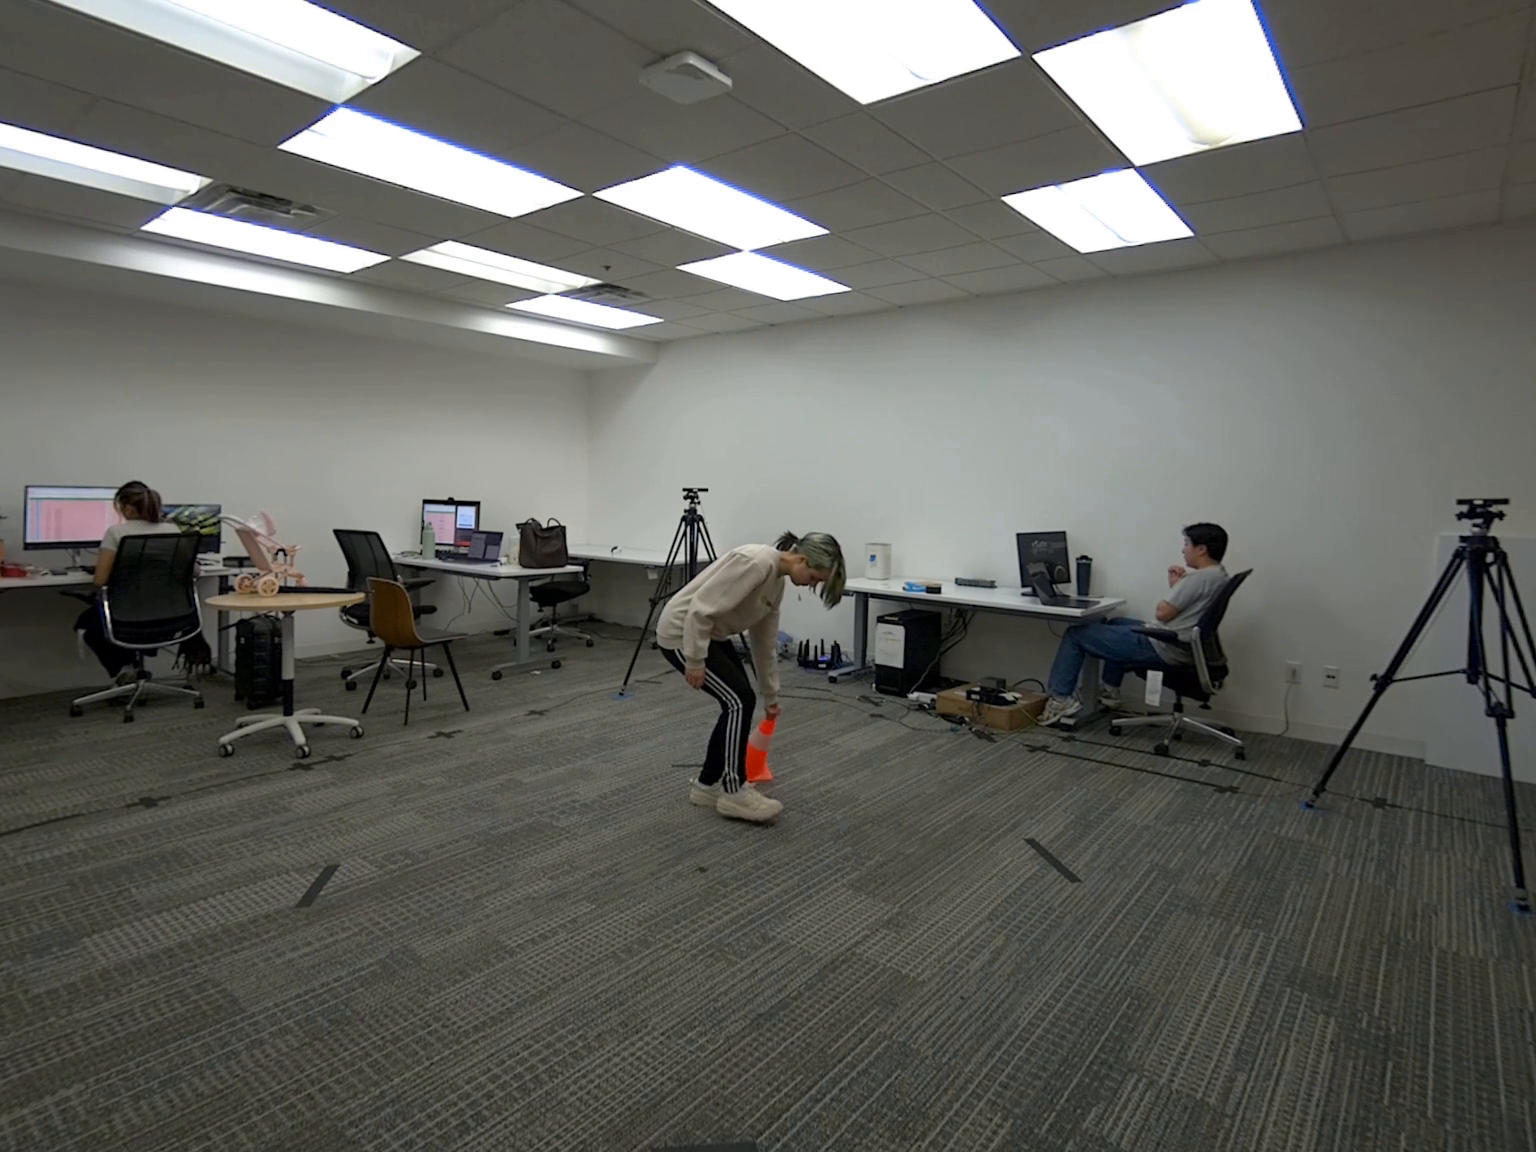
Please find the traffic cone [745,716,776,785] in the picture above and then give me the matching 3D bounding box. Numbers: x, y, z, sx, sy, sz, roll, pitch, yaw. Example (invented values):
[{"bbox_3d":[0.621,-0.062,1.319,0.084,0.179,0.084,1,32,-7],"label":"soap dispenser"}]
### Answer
[{"bbox_3d":[-0.038,0.773,4.030,0.199,0.379,0.212,2,39,-31],"label":"traffic cone"}]
